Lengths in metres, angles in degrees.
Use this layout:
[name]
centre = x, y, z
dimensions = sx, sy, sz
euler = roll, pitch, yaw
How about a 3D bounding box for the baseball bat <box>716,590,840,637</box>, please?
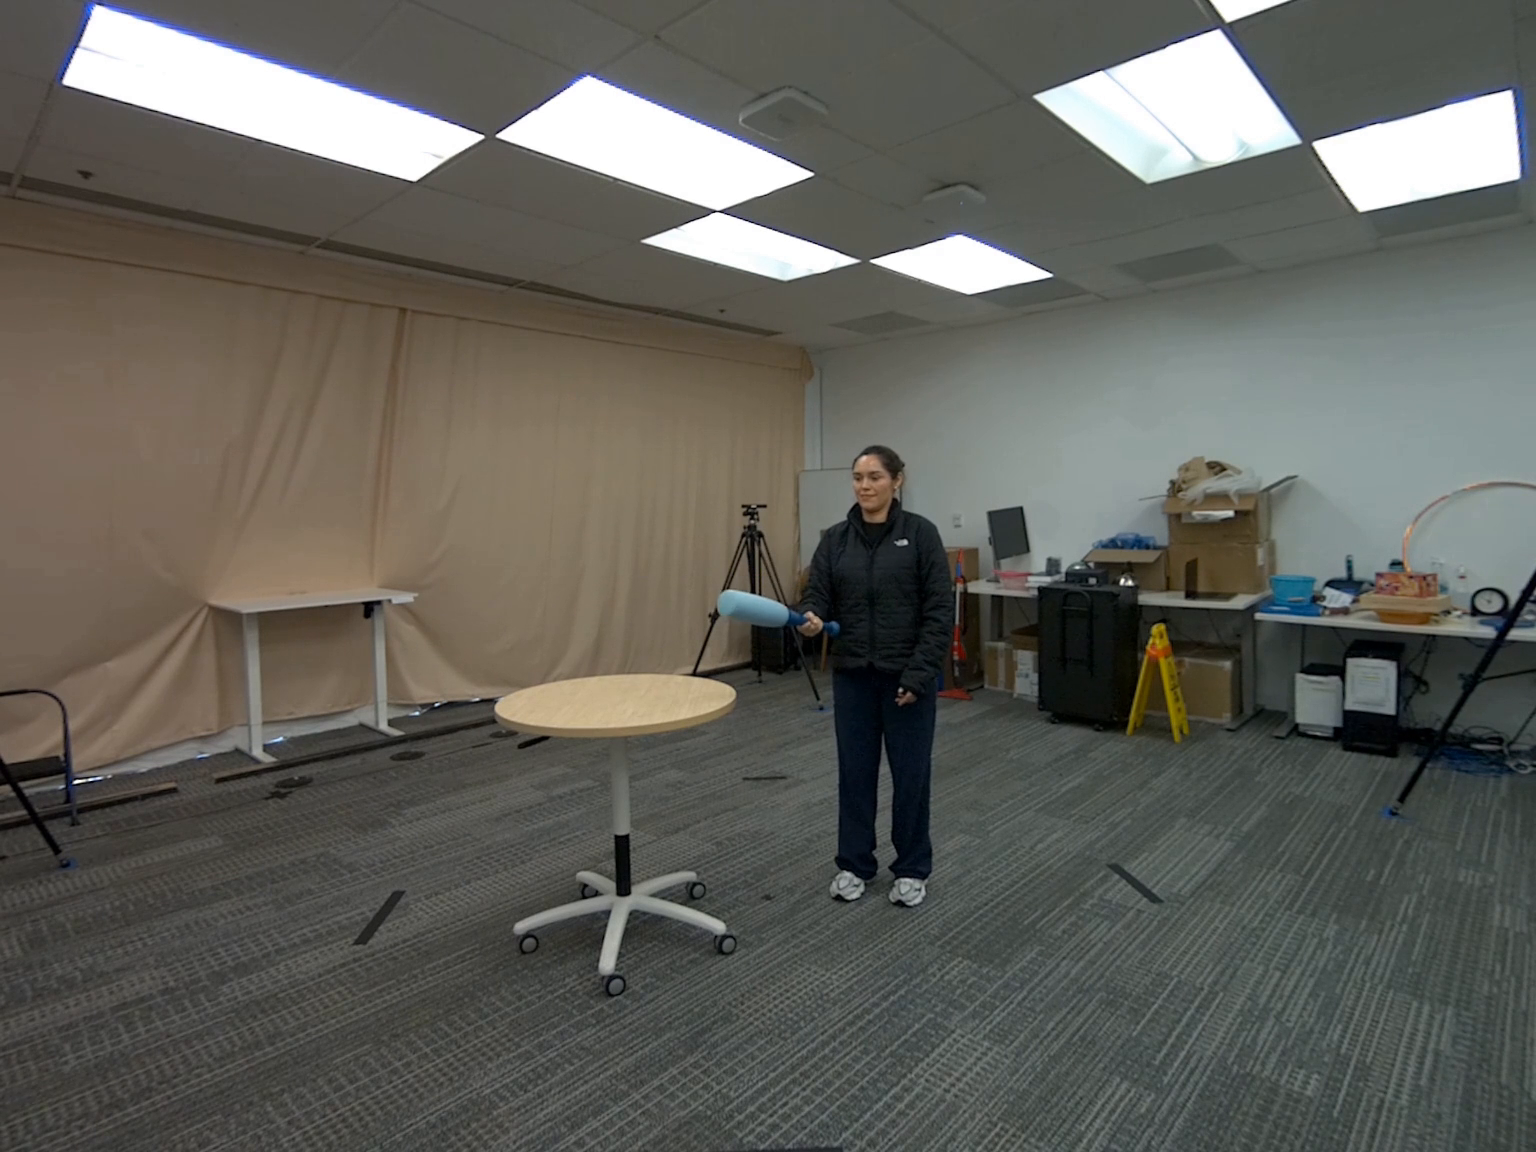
[baseball bat]
centre = 0.074, 0.116, 2.644
dimensions = 0.092, 0.089, 0.523
euler = 3, -11, 44
